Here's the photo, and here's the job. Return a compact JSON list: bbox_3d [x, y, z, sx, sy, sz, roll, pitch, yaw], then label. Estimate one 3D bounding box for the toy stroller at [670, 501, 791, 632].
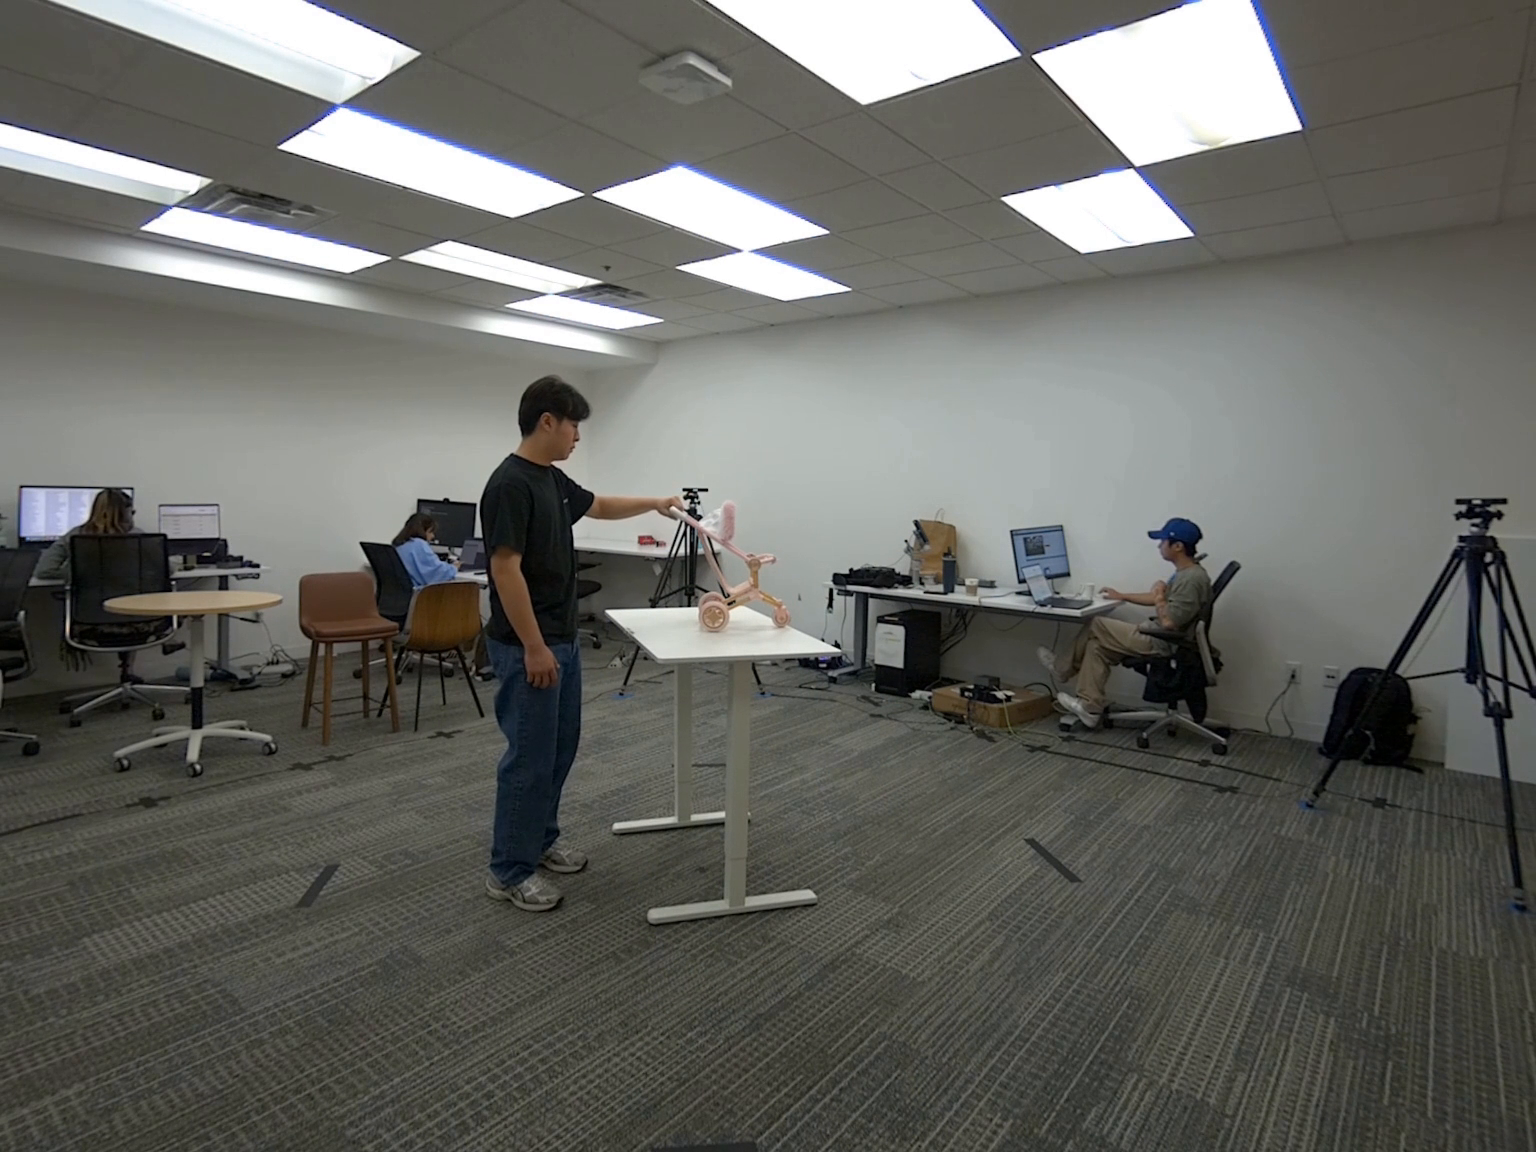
[{"bbox_3d":[-0.139,-0.037,3.121,0.342,0.534,0.281,-13,2,3],"label":"toy stroller"}]
